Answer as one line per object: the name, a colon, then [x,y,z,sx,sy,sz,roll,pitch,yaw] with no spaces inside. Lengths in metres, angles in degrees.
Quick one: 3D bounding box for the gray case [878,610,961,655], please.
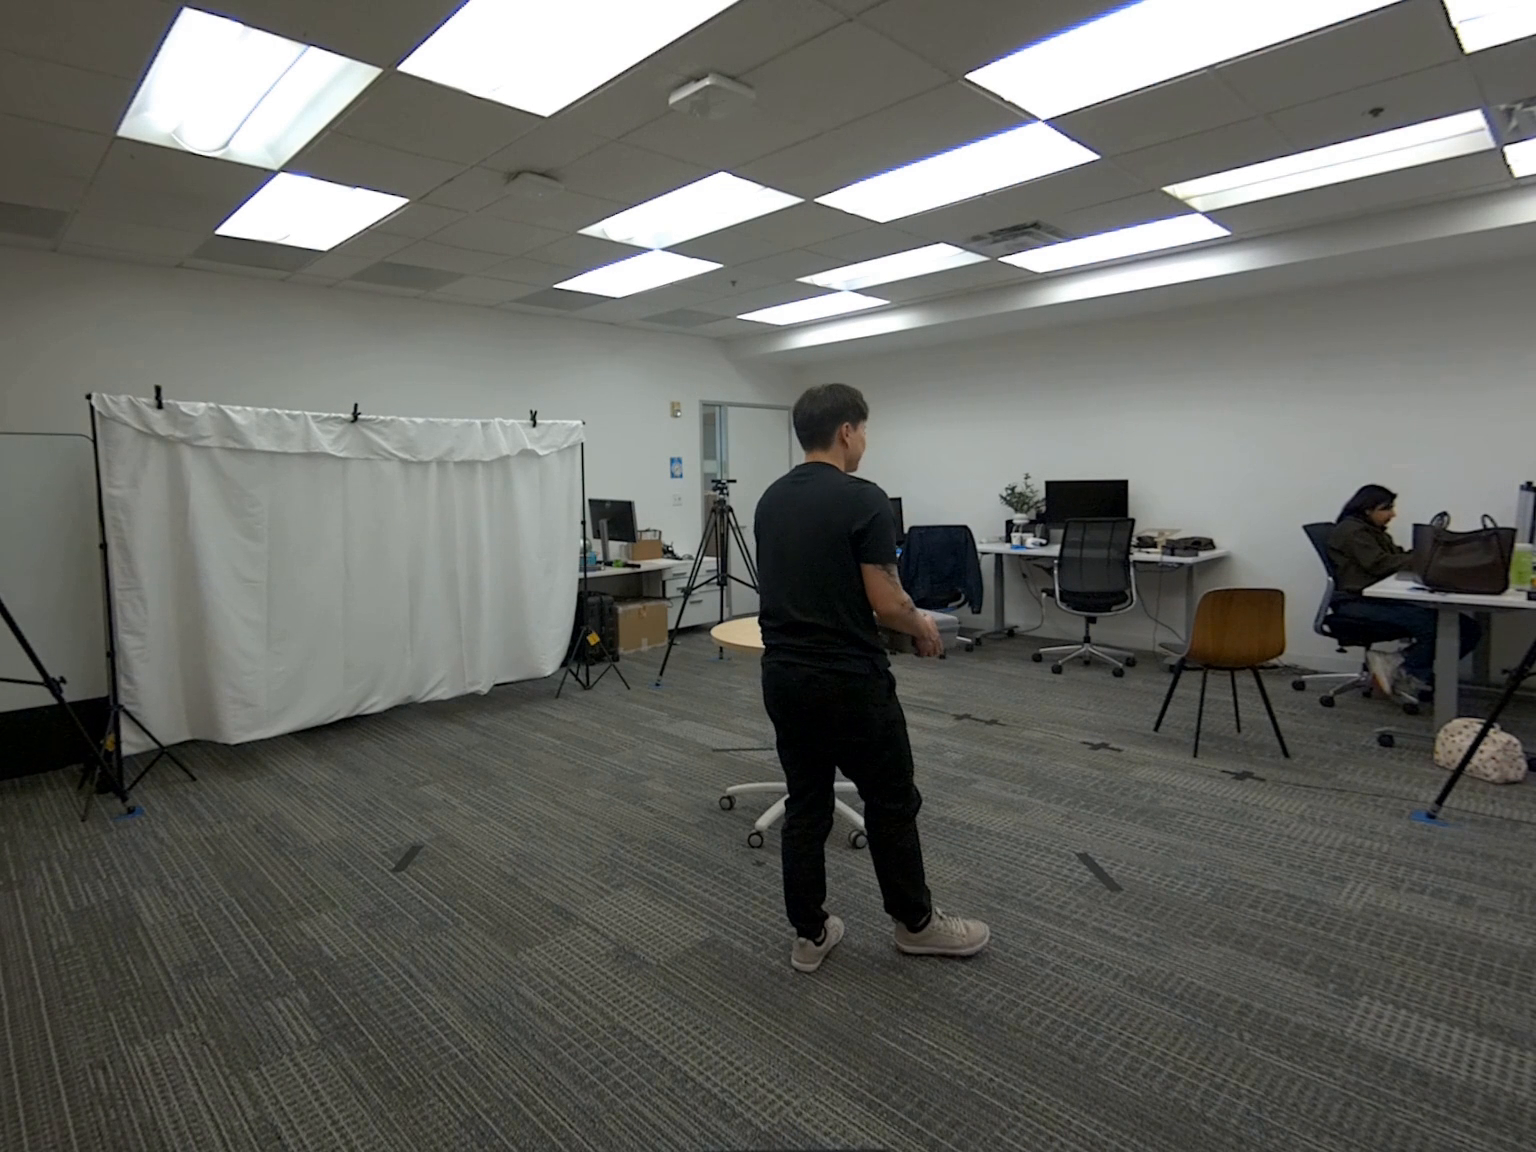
gray case: [0.427,0.165,2.628,0.254,0.104,0.265,-4,10,-39]
